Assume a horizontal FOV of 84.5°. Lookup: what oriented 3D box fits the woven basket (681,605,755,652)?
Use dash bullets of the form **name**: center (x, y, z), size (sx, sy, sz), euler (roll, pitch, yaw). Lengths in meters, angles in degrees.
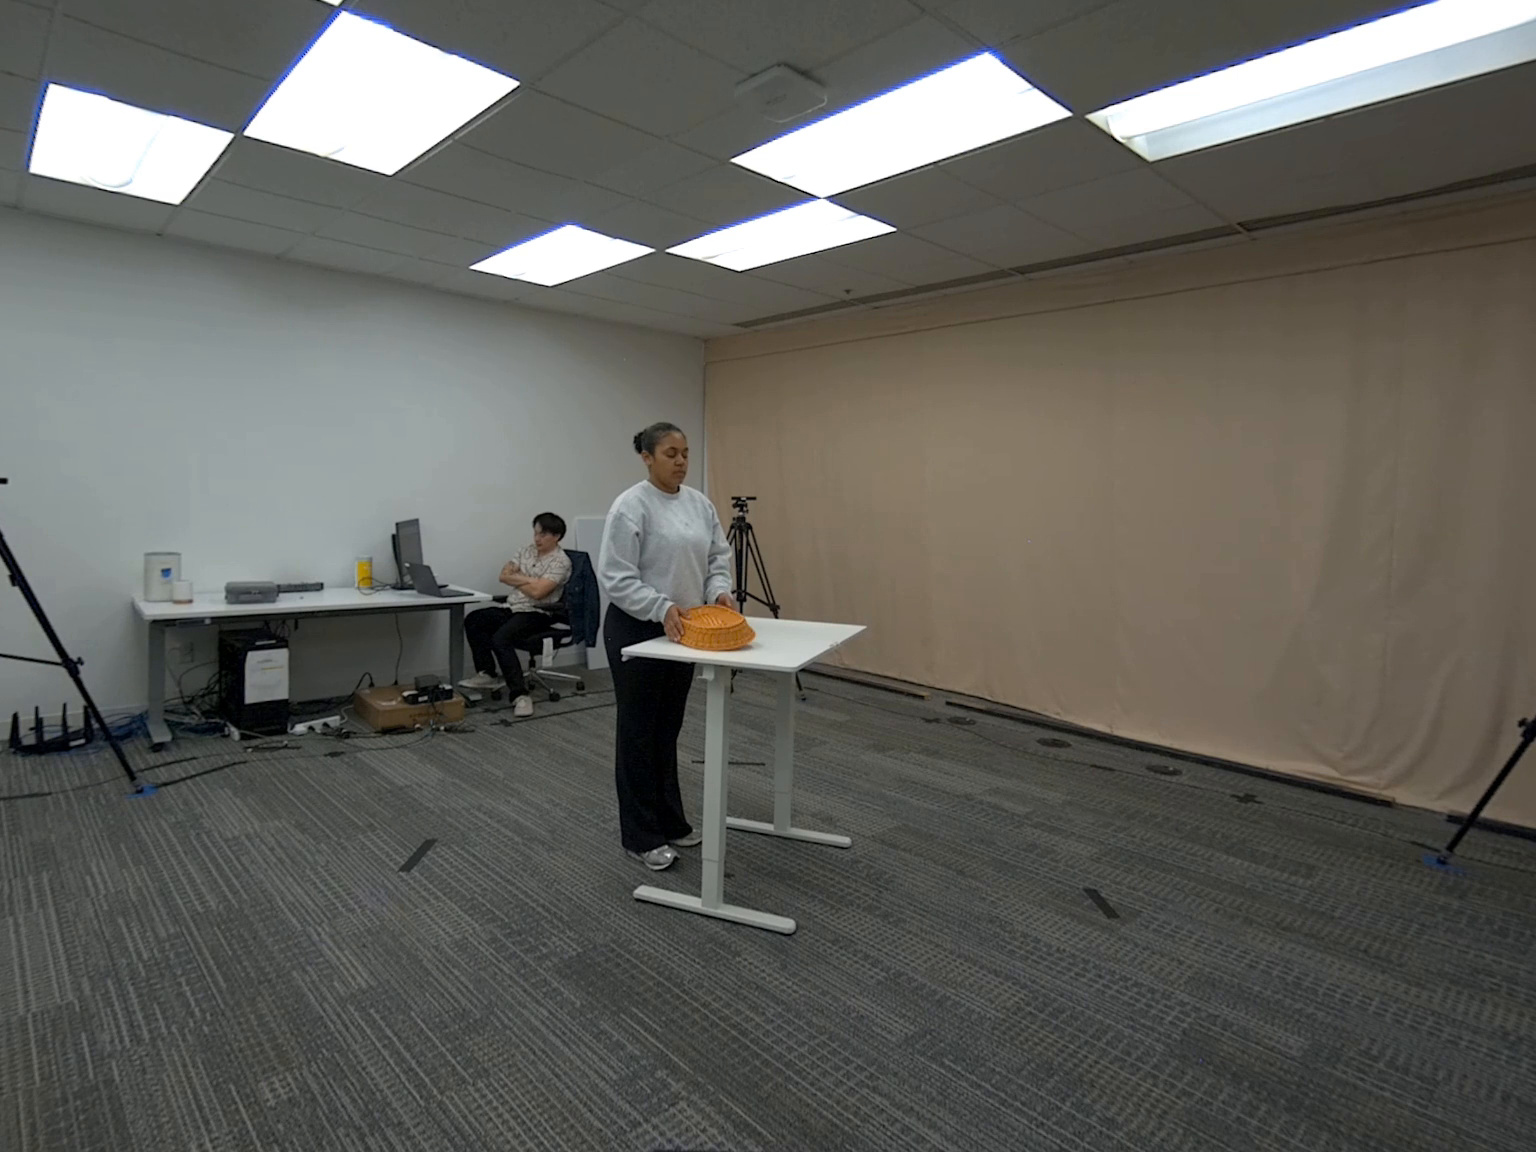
- **woven basket**: center (-0.199, 0.176, 2.932), size (0.249, 0.073, 0.359), euler (-10, 15, -25)
